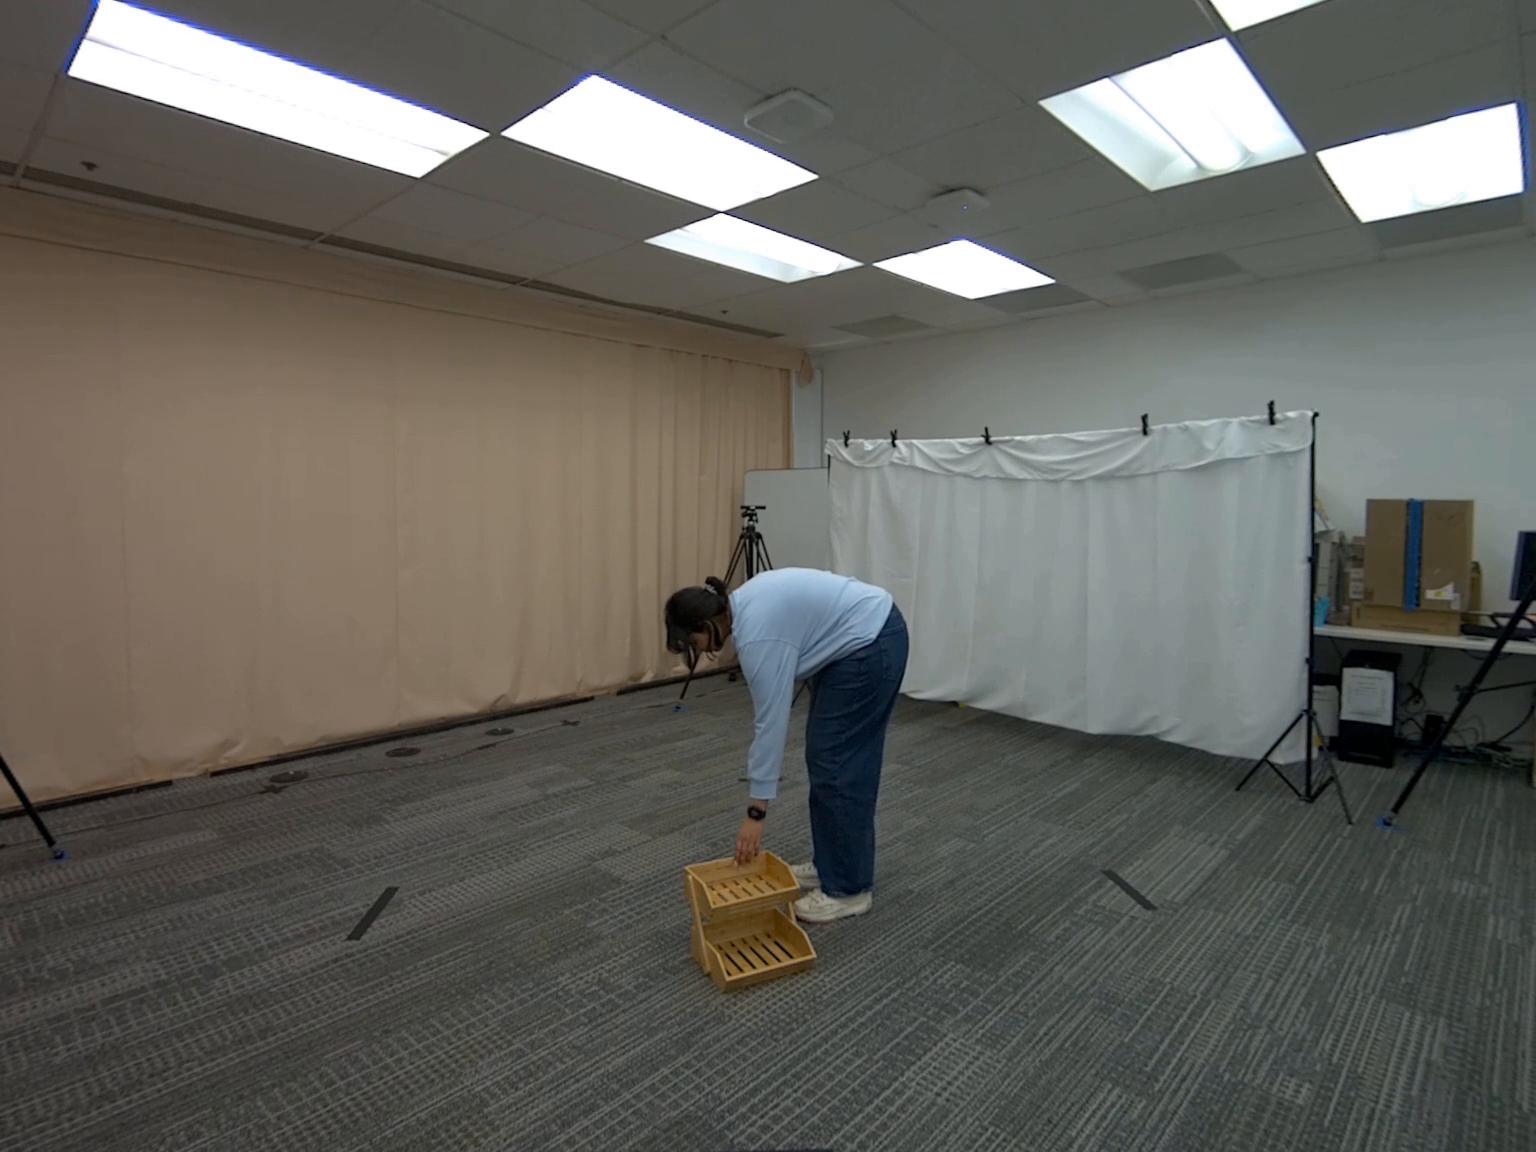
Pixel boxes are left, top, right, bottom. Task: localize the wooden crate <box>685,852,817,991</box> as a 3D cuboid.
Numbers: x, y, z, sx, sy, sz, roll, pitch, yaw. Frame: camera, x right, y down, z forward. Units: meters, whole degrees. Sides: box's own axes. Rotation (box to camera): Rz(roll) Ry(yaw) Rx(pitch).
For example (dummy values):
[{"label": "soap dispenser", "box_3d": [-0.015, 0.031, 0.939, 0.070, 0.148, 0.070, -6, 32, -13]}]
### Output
[{"label": "wooden crate", "box_3d": [-0.054, 1.043, 2.574, 0.316, 0.273, 0.310, -2, 3, -28]}]
